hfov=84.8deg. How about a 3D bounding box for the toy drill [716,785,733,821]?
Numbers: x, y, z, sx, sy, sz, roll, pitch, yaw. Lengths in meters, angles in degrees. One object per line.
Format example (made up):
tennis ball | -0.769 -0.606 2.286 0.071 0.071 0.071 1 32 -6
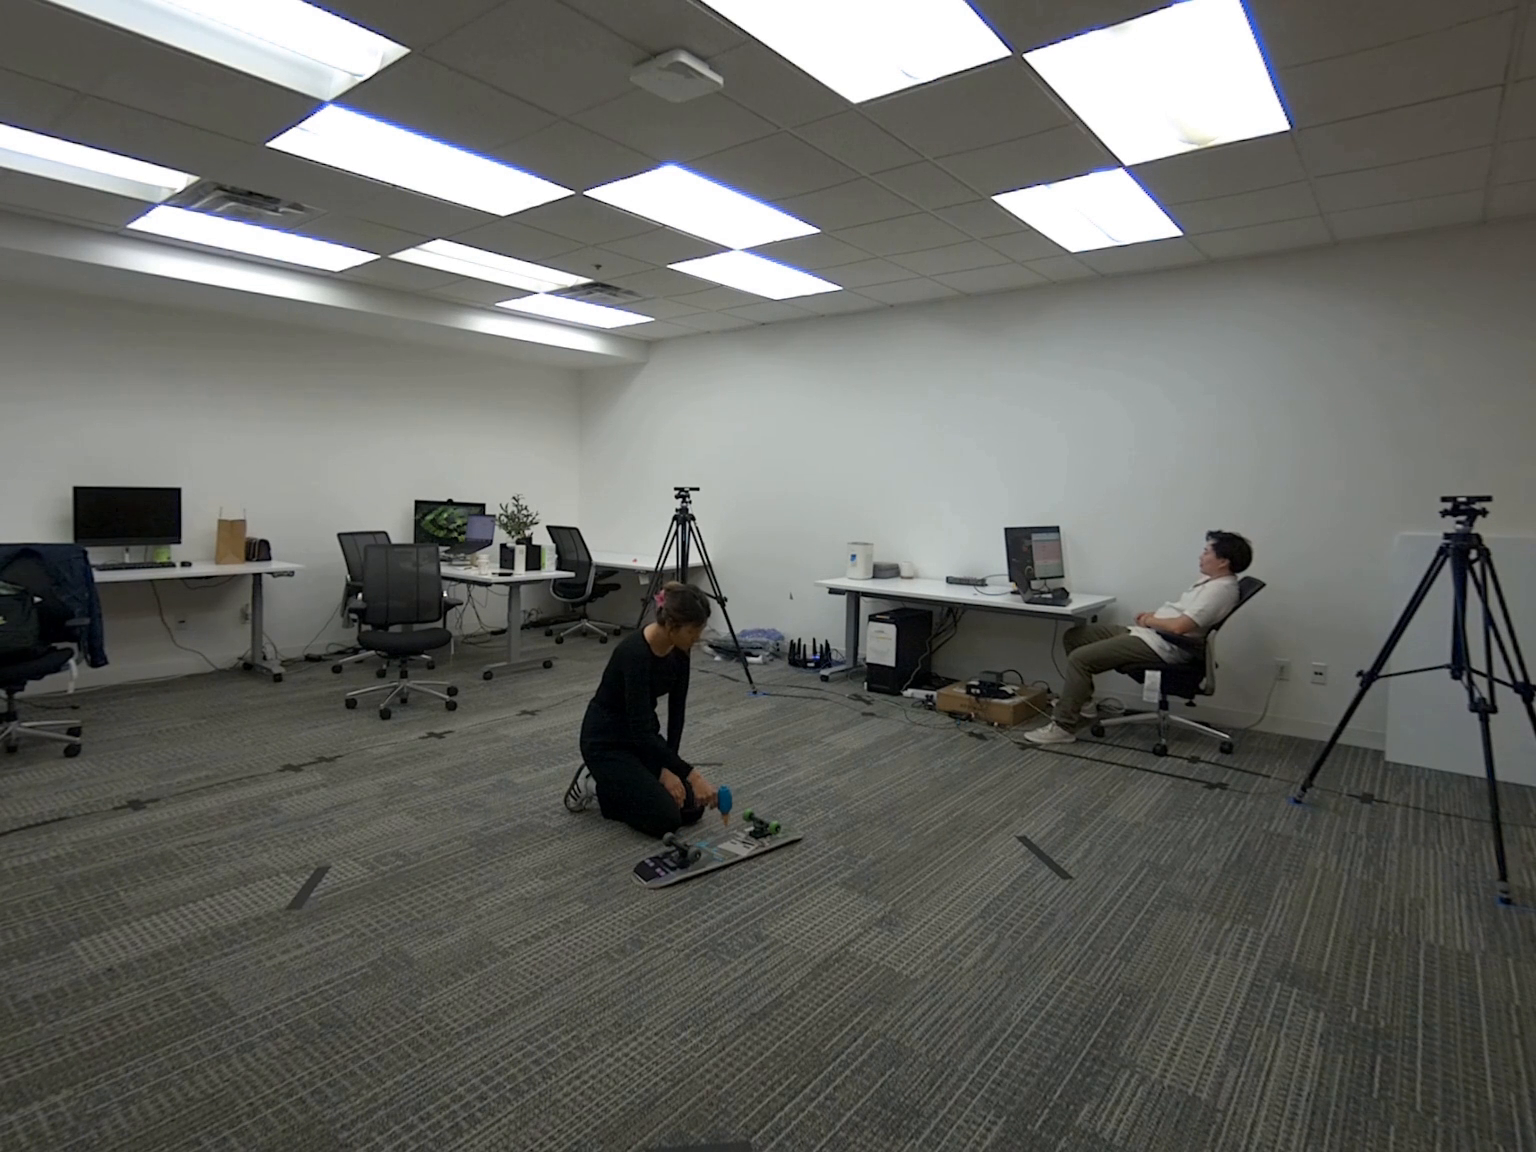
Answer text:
toy drill | -0.220 0.887 3.250 0.147 0.168 0.061 -2 11 7
